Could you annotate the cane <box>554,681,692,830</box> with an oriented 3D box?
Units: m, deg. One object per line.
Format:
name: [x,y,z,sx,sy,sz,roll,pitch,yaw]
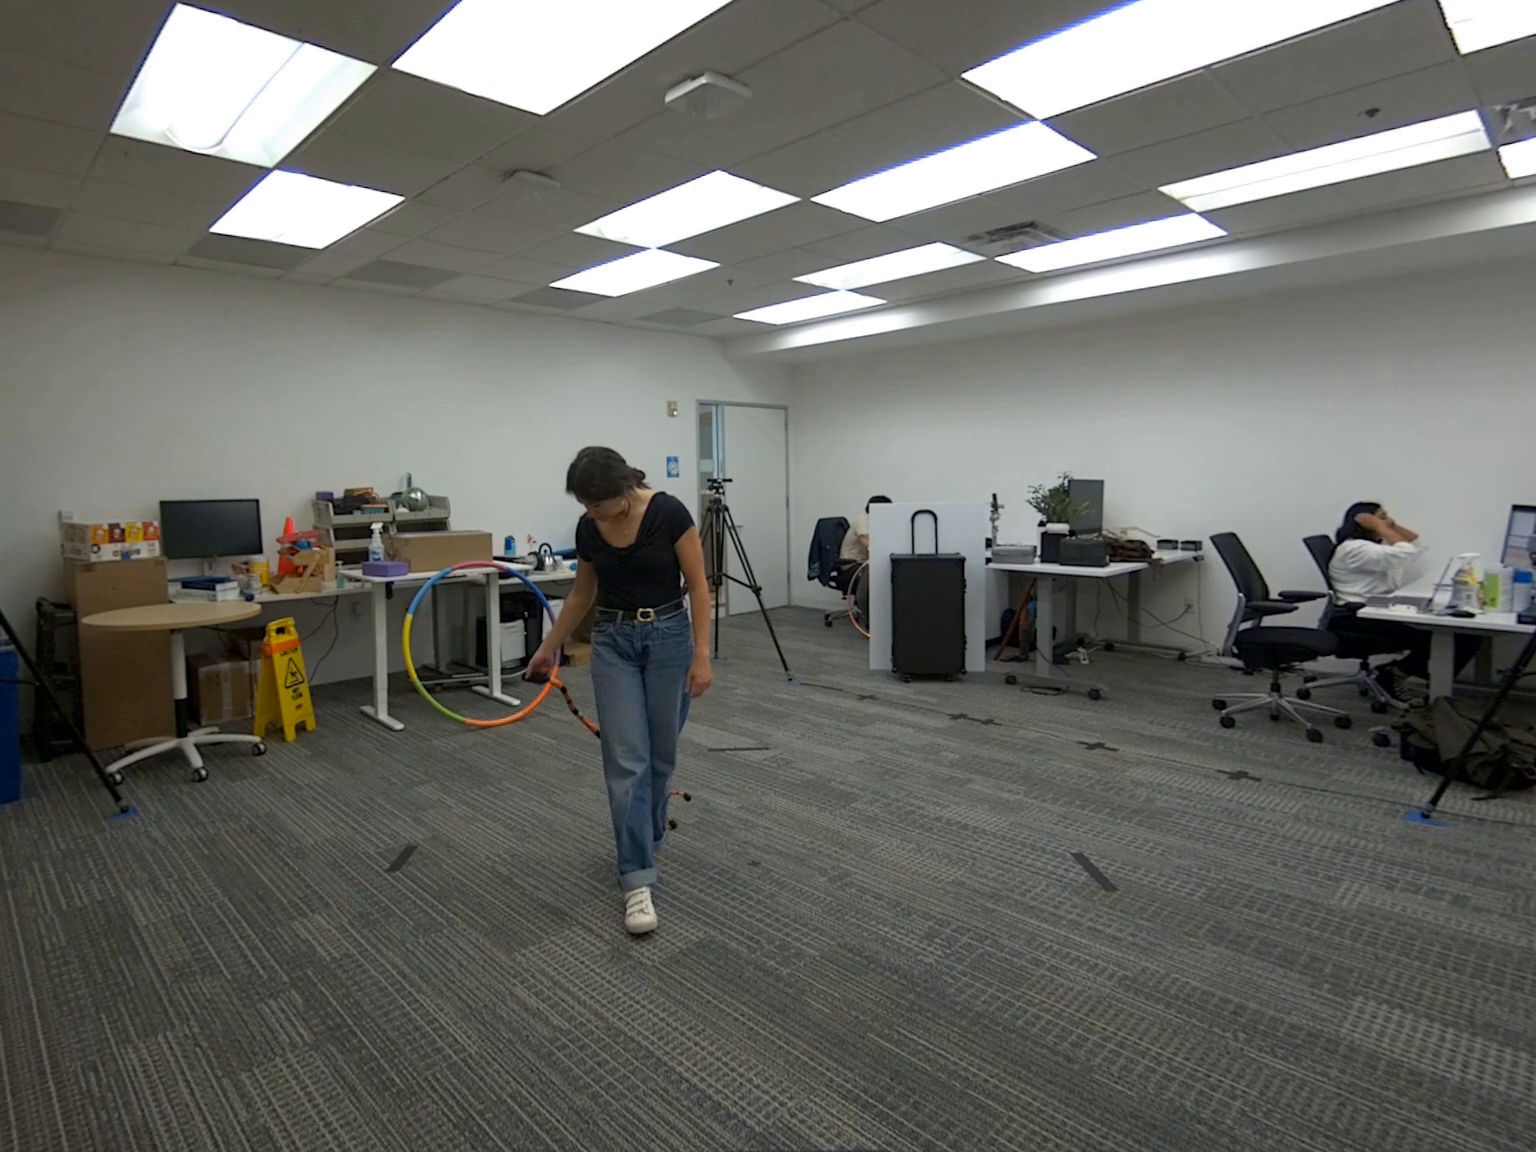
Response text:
cane: [-0.615,0.661,3.273,0.212,0.153,0.875,1,-41,39]
